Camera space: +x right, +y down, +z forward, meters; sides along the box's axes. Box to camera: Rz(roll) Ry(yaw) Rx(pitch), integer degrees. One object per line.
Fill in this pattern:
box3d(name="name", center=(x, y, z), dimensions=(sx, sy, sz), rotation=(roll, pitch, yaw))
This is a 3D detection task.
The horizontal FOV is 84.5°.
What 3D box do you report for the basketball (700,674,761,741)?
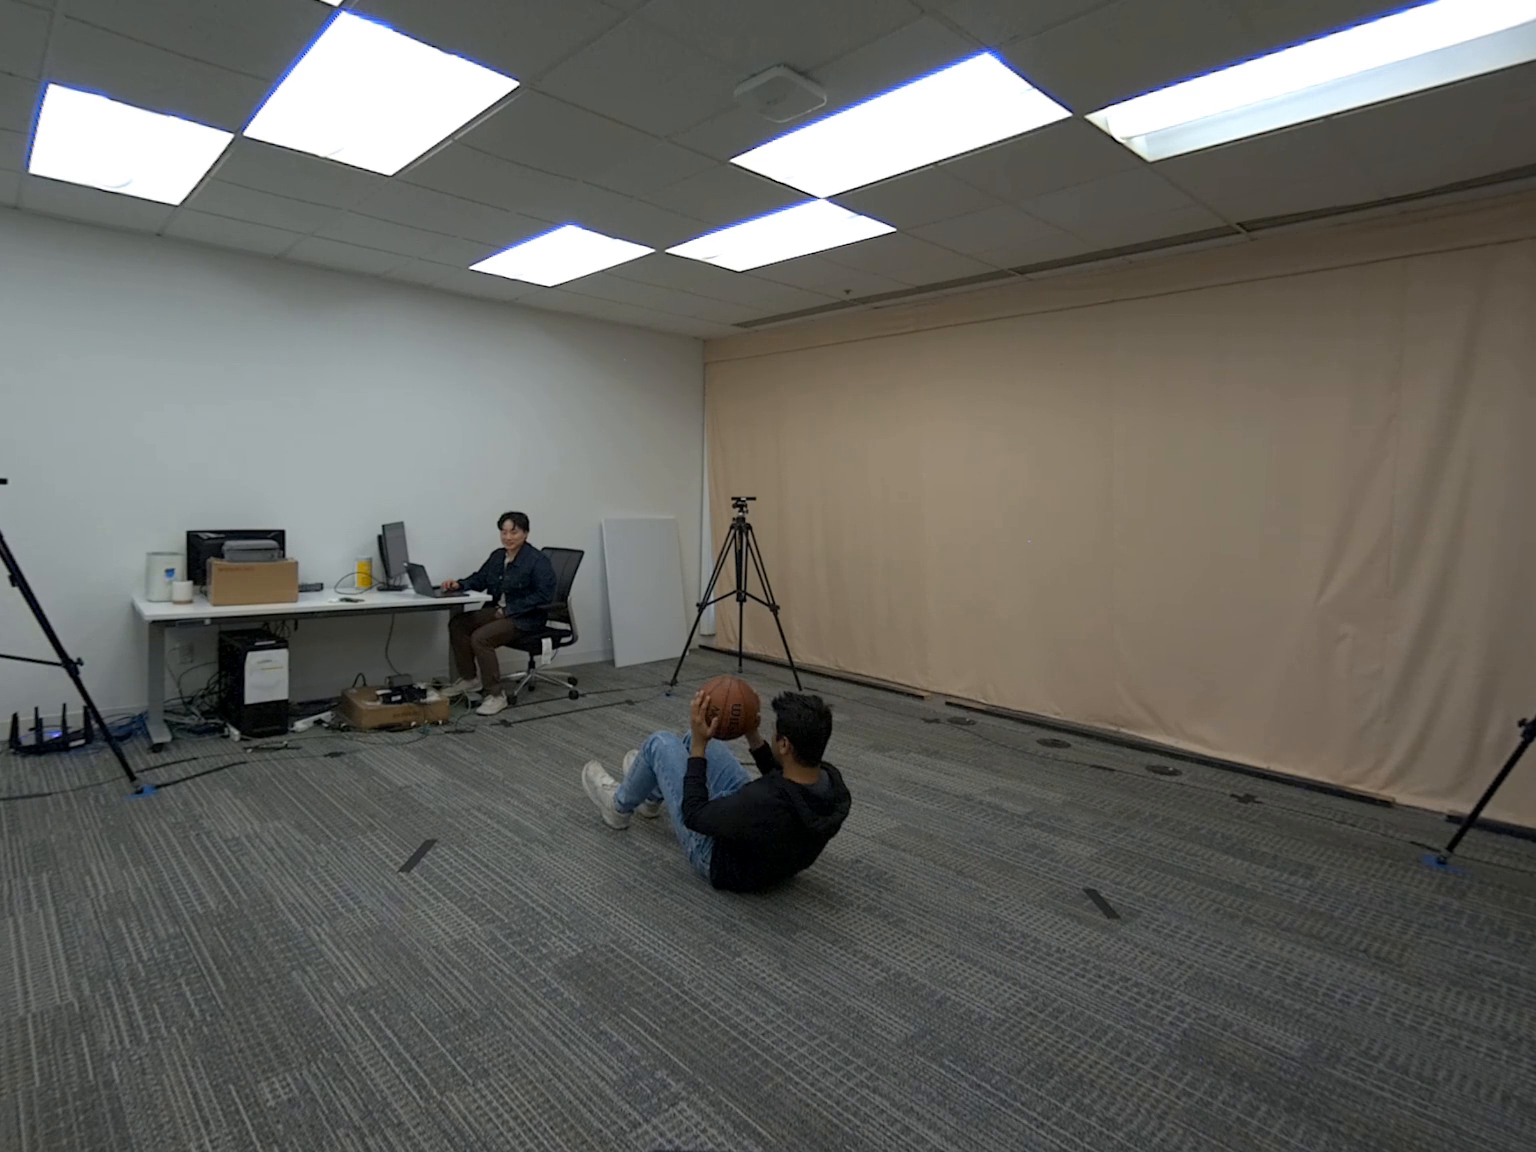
box3d(name="basketball", center=(-0.149, 0.491, 3.111), dimensions=(0.236, 0.235, 0.237), rotation=(1, 4, -1))
